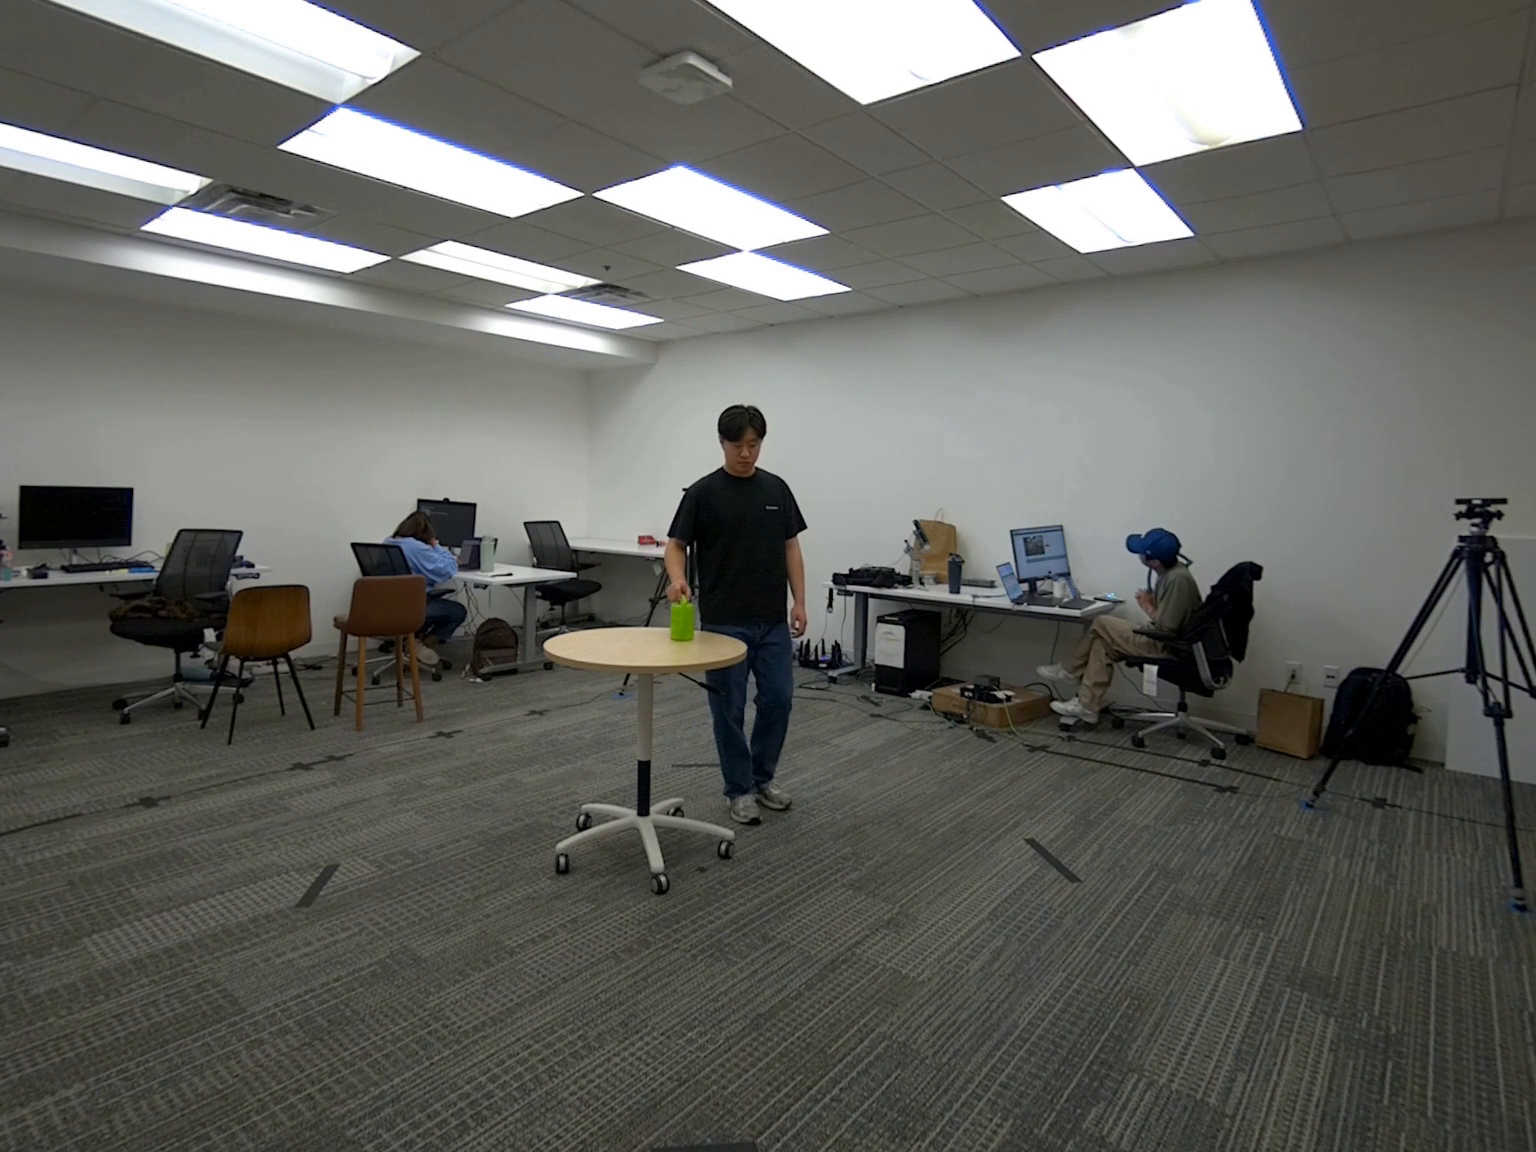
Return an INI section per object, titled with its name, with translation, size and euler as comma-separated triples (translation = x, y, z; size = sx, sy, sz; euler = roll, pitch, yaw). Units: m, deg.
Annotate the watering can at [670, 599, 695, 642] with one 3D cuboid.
[watering can]
translation = -0.360, 0.164, 3.333
size = 0.099, 0.176, 0.277
euler = 2, 3, 5
